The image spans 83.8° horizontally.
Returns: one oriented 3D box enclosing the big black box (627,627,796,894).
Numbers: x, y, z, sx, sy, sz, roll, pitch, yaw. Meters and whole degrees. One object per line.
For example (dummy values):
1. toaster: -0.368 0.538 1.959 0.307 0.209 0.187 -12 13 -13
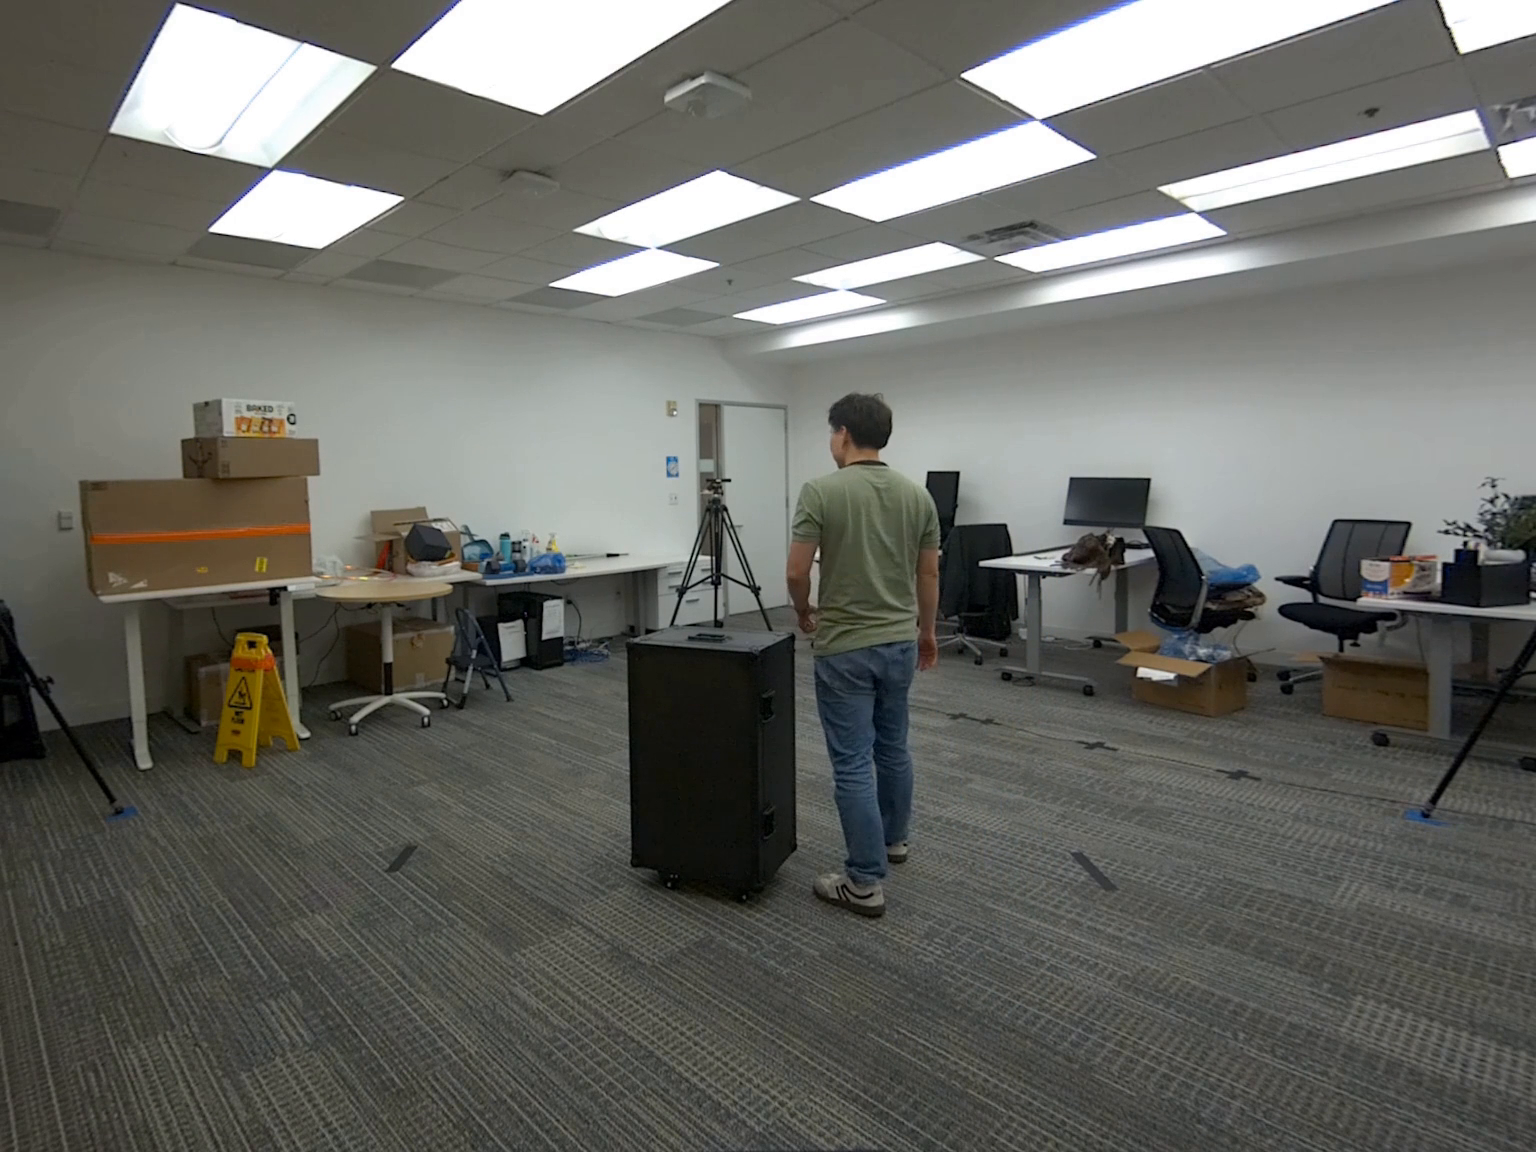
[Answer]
1. big black box: -0.190 0.631 2.987 0.533 0.859 0.389 1 4 24
